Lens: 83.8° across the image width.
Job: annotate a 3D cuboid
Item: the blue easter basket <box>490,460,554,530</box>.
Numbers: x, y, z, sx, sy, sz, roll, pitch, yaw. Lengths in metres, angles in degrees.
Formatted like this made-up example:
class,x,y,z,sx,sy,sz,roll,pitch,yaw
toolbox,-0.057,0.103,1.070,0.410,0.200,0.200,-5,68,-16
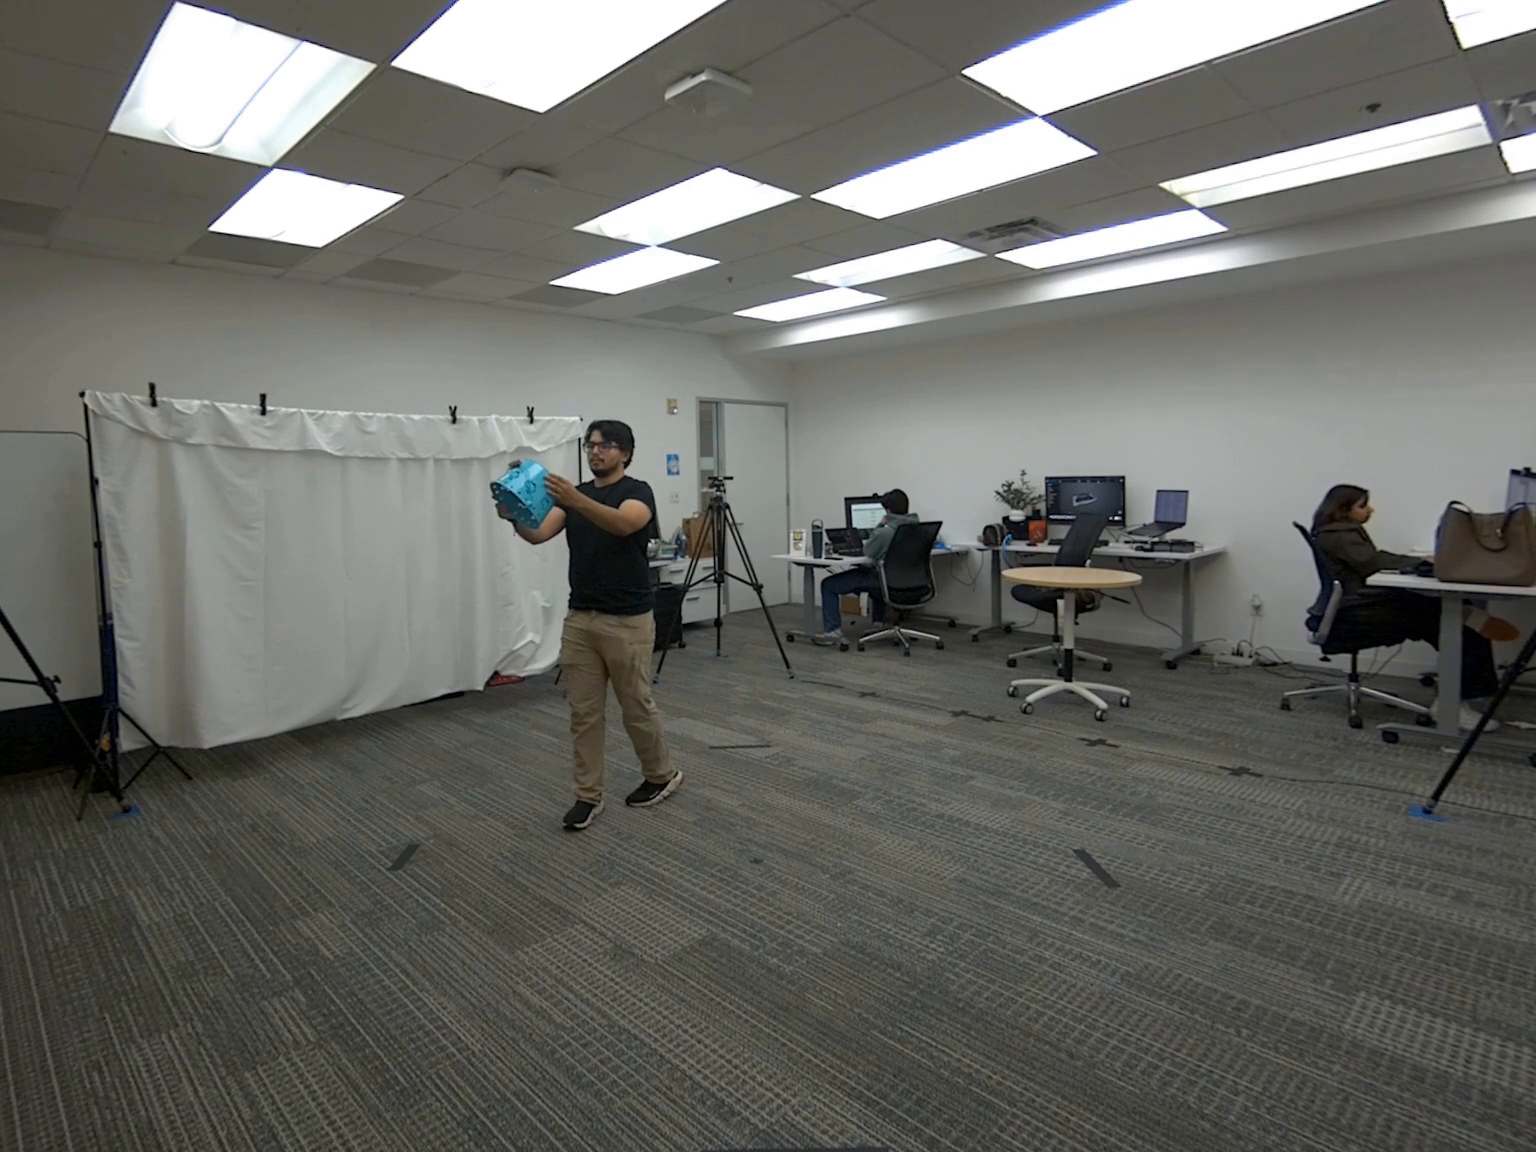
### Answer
class,x,y,z,sx,sy,sz,roll,pitch,yaw
blue easter basket,-0.868,-0.295,3.069,0.156,0.236,0.251,-47,29,-26
